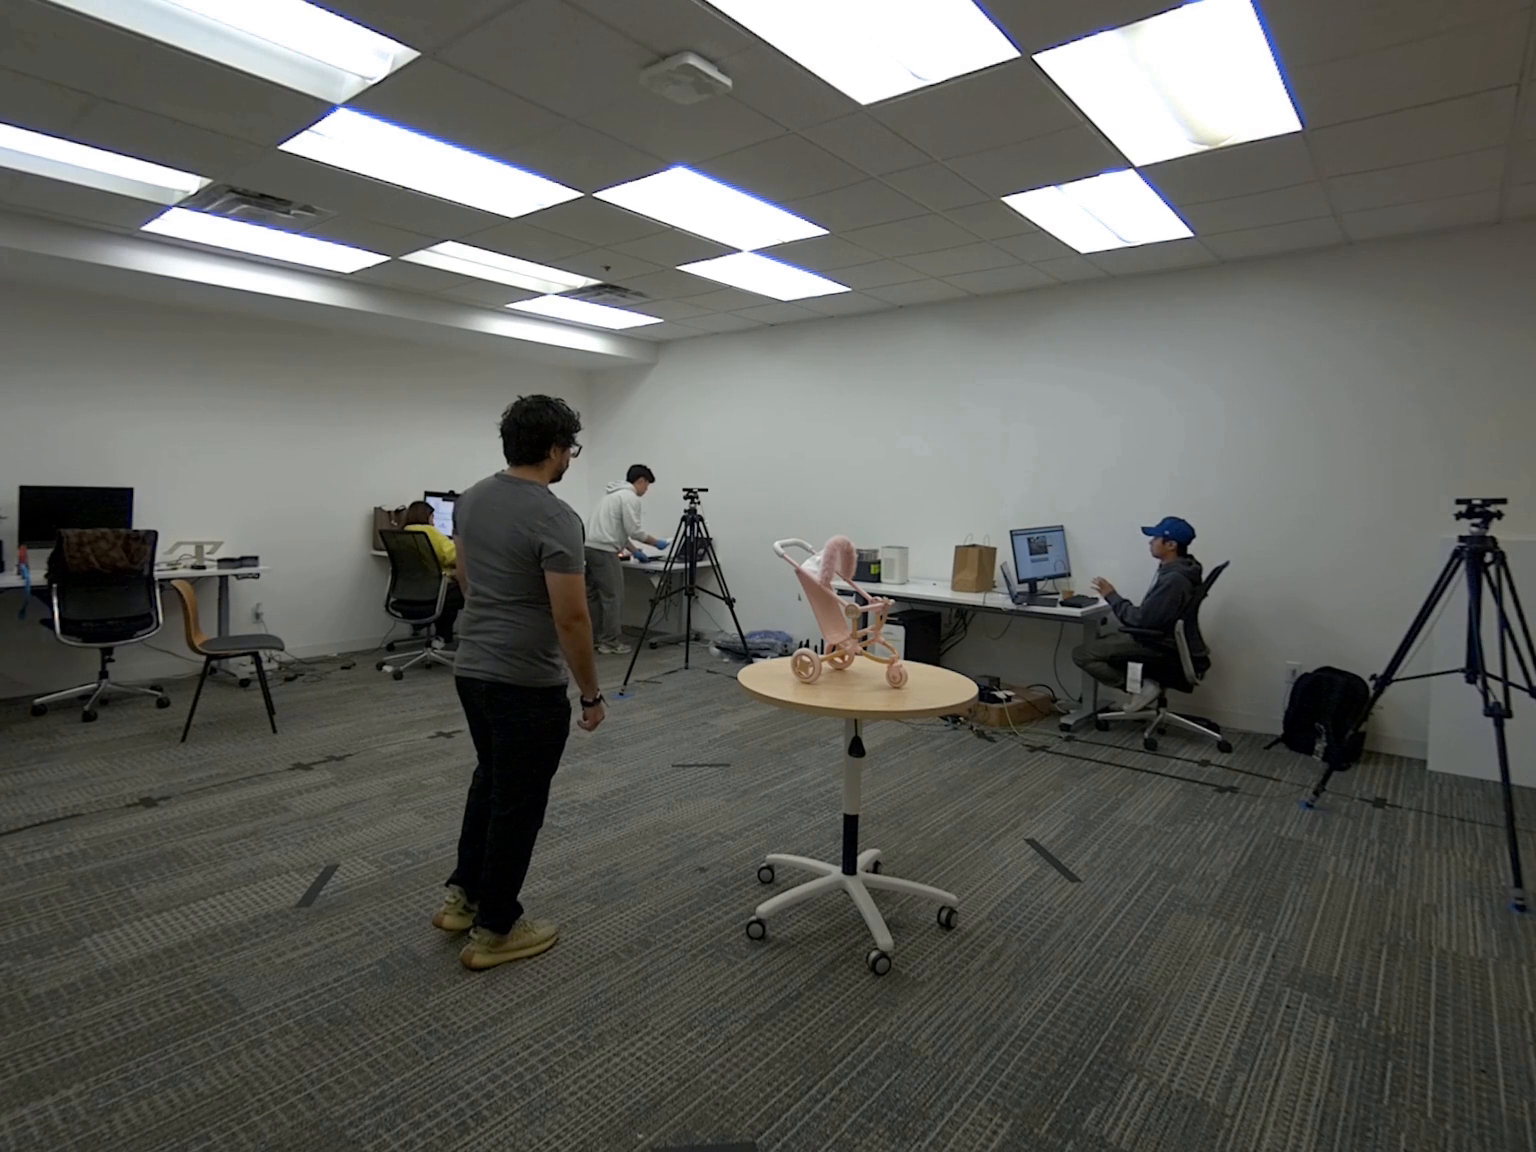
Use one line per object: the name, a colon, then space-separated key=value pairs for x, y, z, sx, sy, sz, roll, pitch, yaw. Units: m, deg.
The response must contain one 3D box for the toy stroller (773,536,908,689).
toy stroller: x=0.230 y=0.109 z=2.748 sx=0.349 sy=0.538 sz=0.273 roll=-14 pitch=-5 yaw=36
